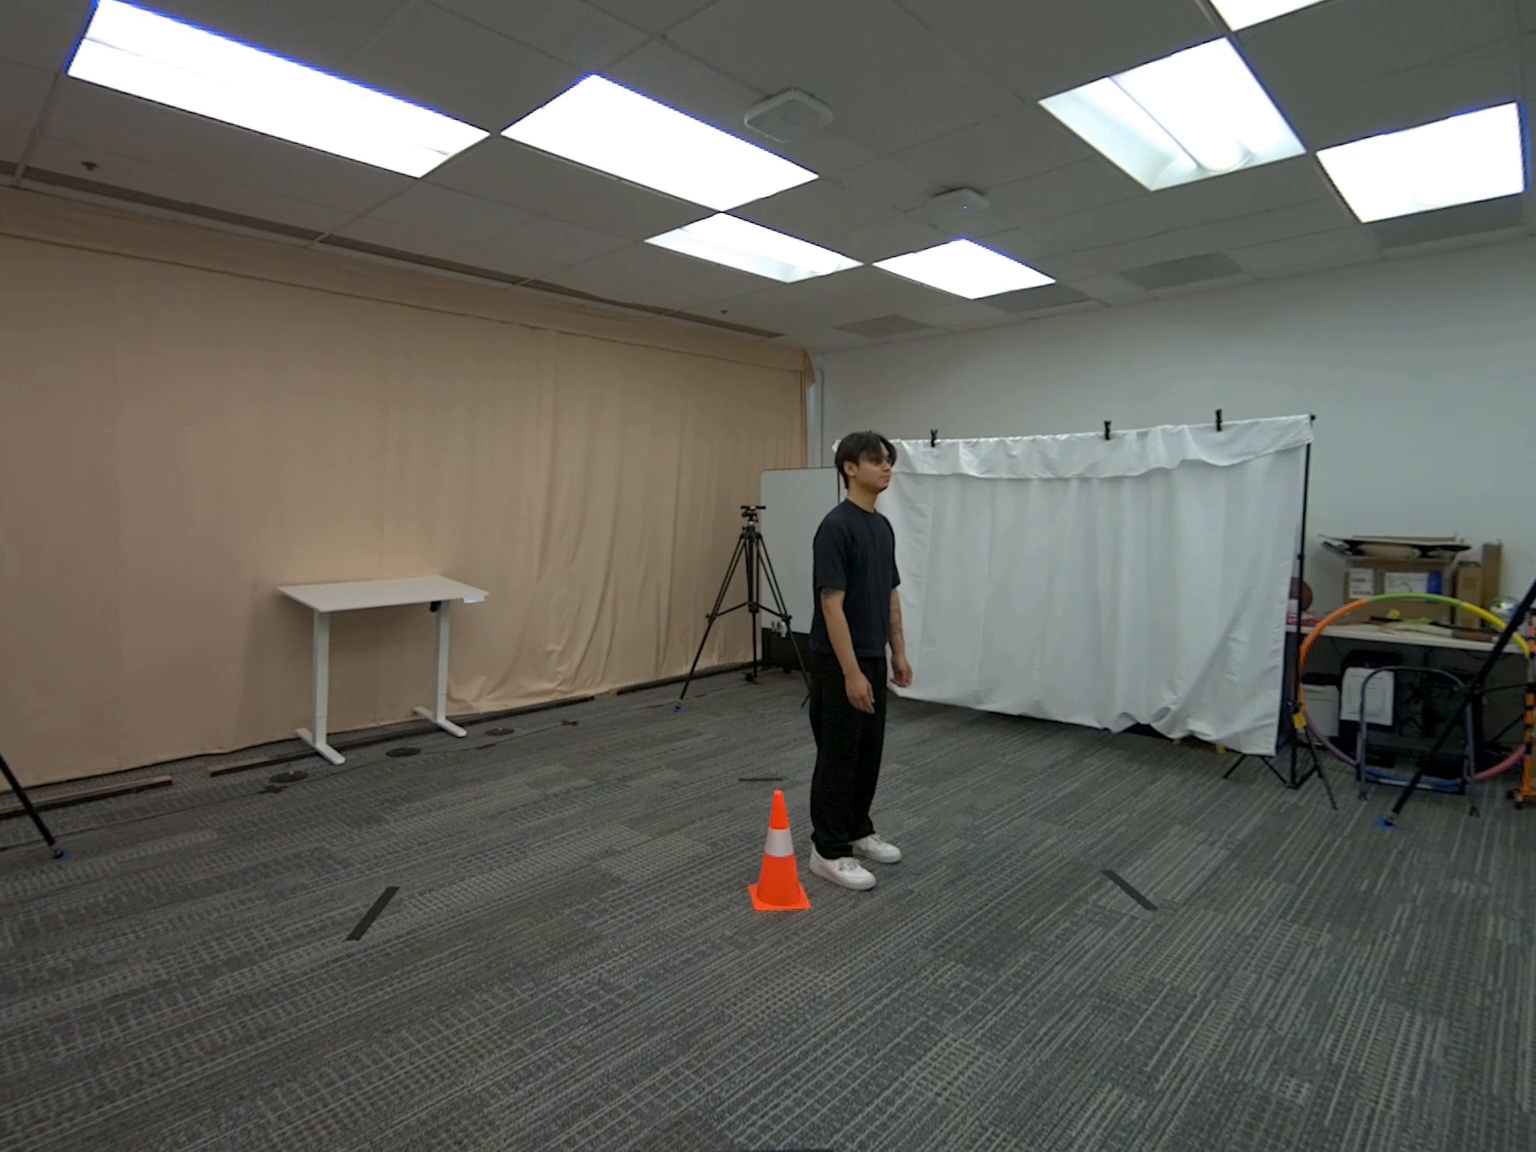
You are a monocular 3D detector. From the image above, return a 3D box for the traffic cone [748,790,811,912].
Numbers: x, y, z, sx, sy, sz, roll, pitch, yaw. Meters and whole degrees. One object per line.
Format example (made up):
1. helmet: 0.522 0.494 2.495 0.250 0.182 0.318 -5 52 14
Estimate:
1. traffic cone: 0.036 0.960 2.986 0.204 0.383 0.205 0 3 -6
